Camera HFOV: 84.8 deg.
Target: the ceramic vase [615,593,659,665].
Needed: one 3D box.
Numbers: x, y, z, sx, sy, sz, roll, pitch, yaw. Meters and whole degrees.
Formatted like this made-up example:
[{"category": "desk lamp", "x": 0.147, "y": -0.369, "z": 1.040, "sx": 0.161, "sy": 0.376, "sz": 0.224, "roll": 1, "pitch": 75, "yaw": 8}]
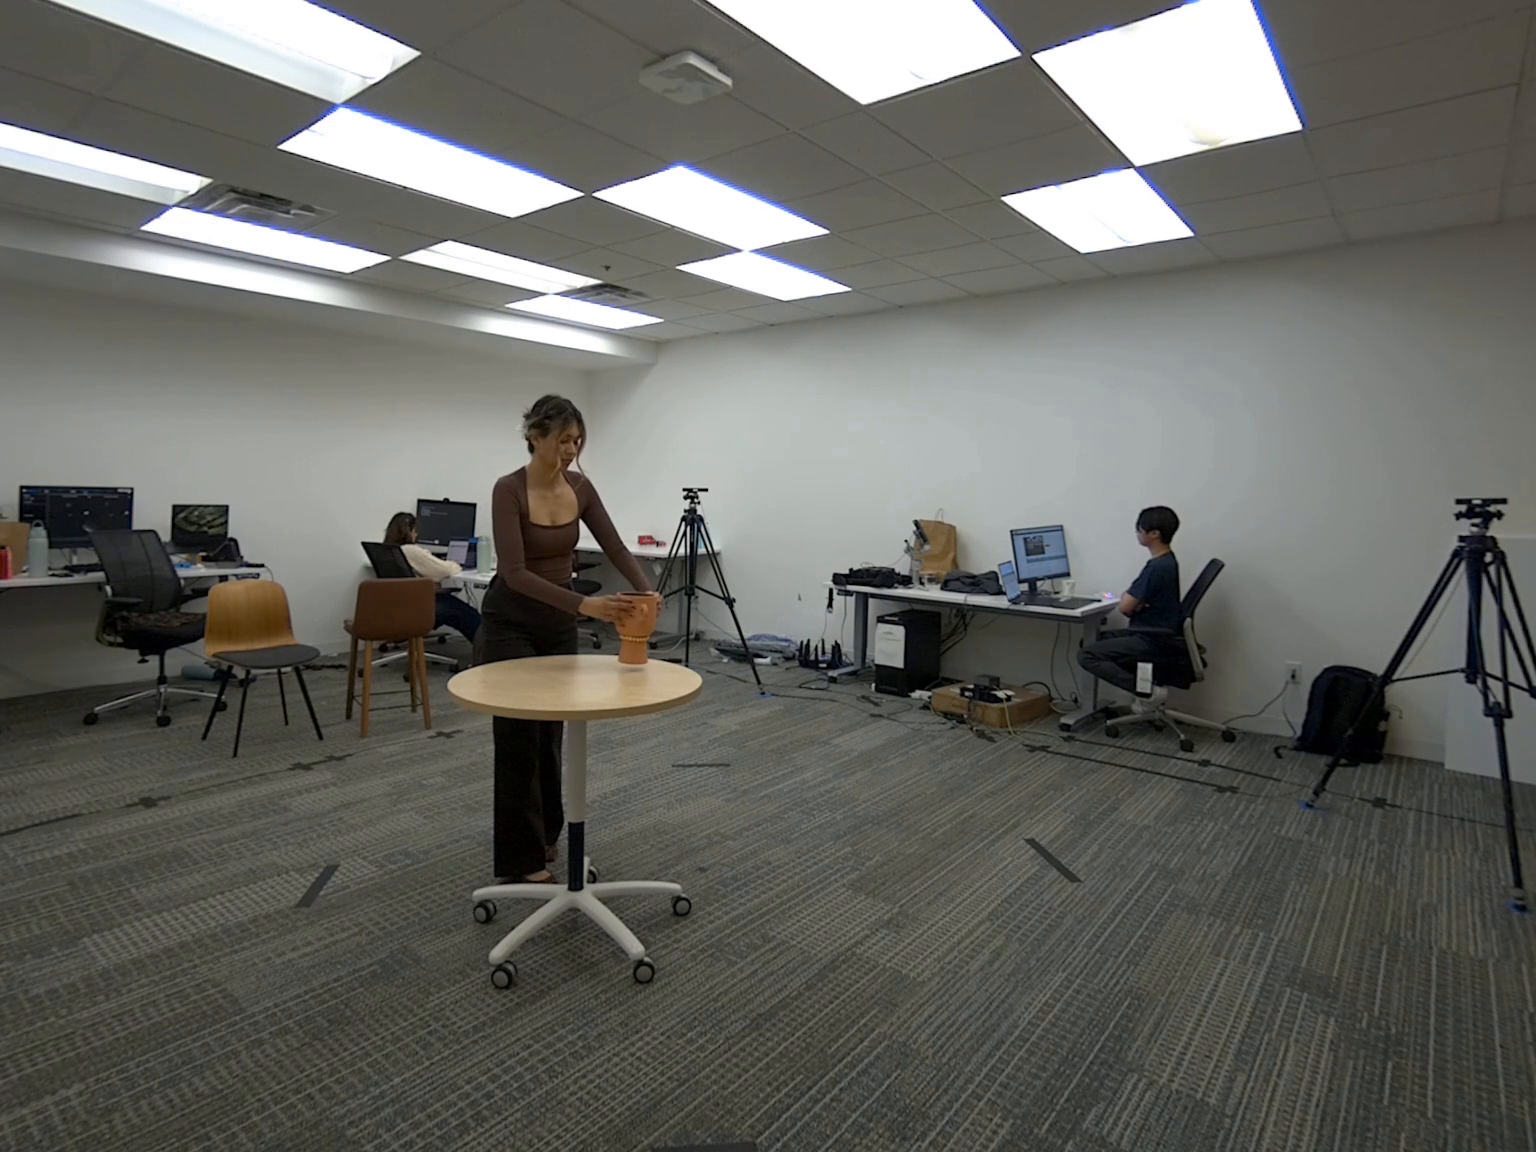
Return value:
[{"category": "ceramic vase", "x": -0.442, "y": 0.168, "z": 2.760, "sx": 0.136, "sy": 0.219, "sz": 0.157, "roll": 2, "pitch": 1, "yaw": 12}]
